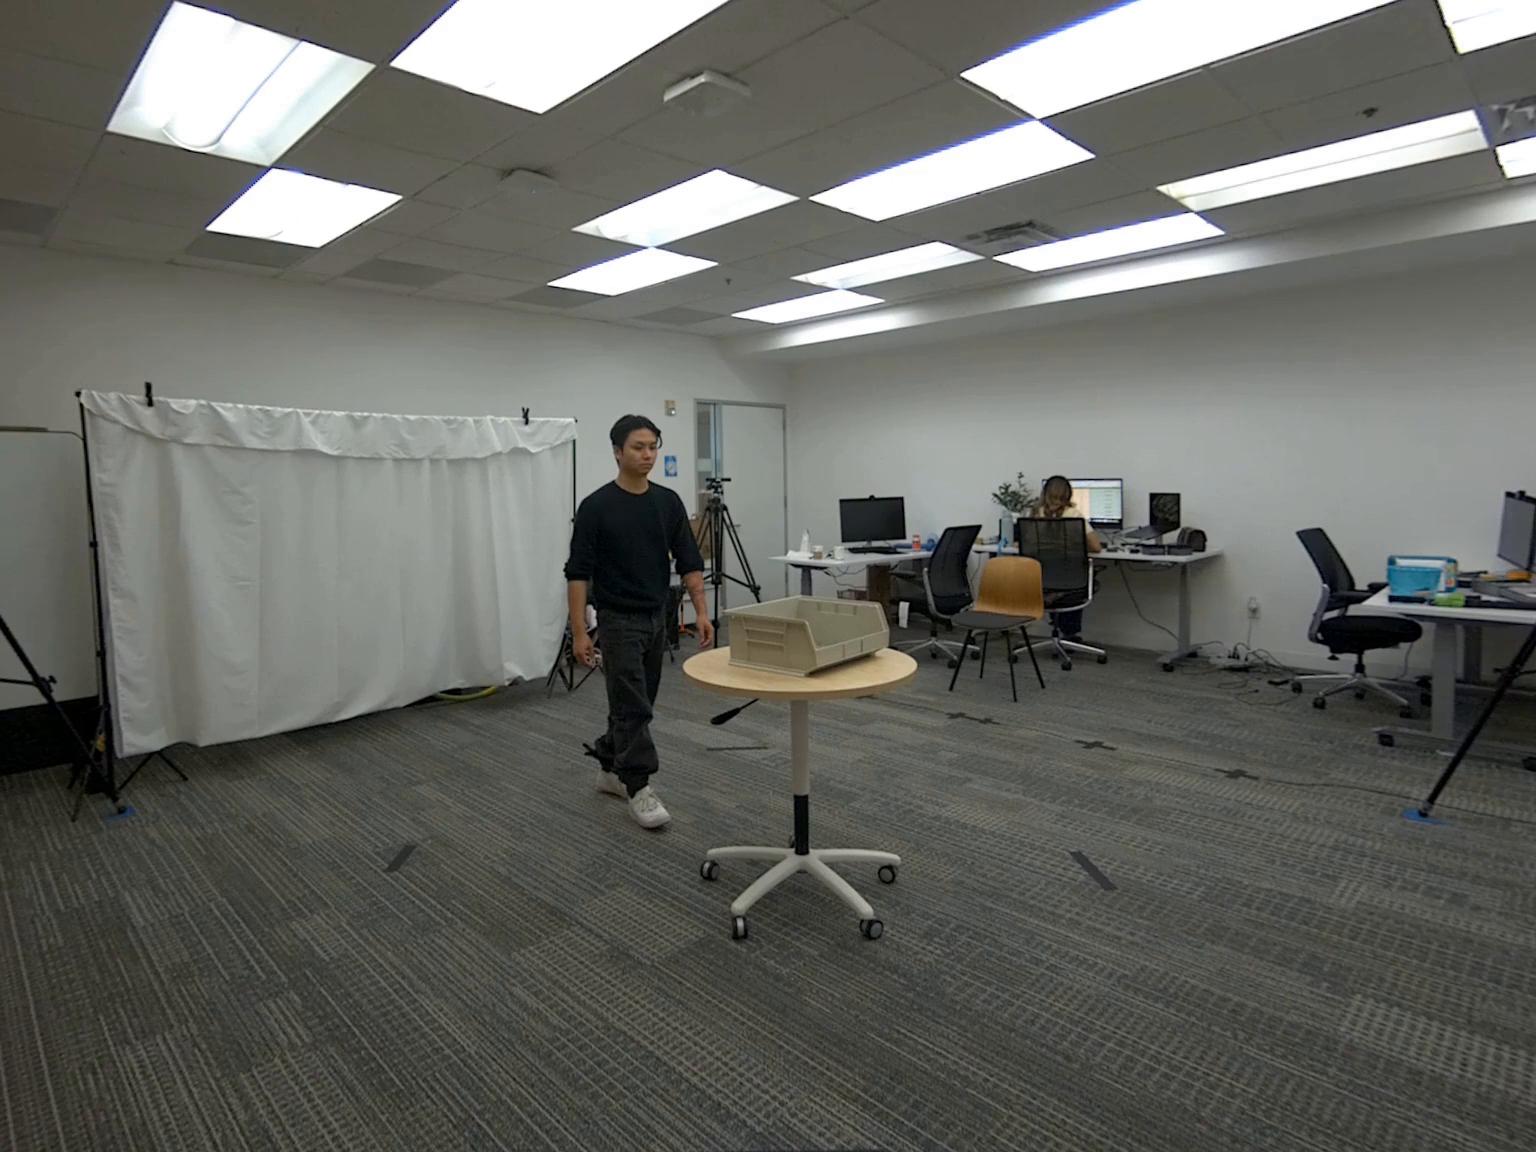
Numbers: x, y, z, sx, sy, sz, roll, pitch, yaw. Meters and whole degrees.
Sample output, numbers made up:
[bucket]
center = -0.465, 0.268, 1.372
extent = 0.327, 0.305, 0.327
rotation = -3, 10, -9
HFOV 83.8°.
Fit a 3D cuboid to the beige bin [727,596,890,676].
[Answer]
[beige bin]
center = 0.130, 0.194, 2.849
extent = 0.388, 0.188, 0.412
rotation = 2, 7, 41
